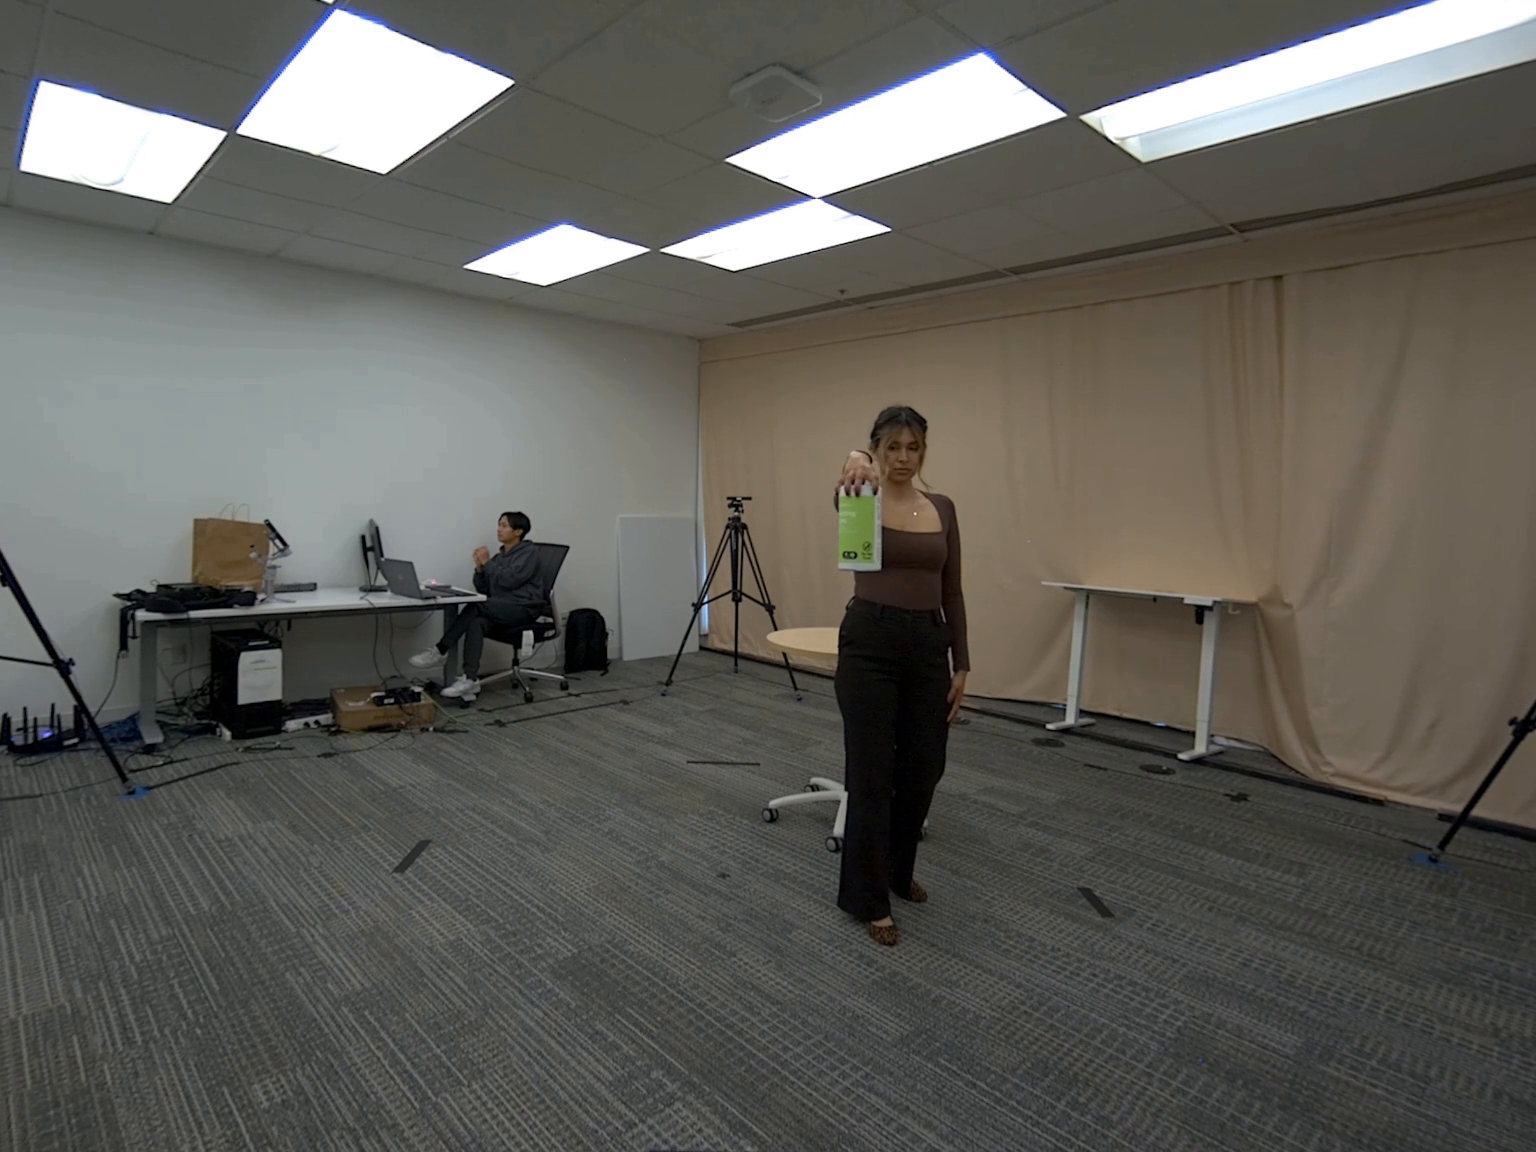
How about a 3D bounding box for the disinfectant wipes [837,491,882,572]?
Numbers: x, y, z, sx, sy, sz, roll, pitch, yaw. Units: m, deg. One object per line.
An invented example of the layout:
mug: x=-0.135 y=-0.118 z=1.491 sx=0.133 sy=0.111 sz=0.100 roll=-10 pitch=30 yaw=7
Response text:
disinfectant wipes: x=0.233 y=-0.117 z=2.141 sx=0.118 sy=0.217 sz=0.118 roll=0 pitch=2 yaw=-1
